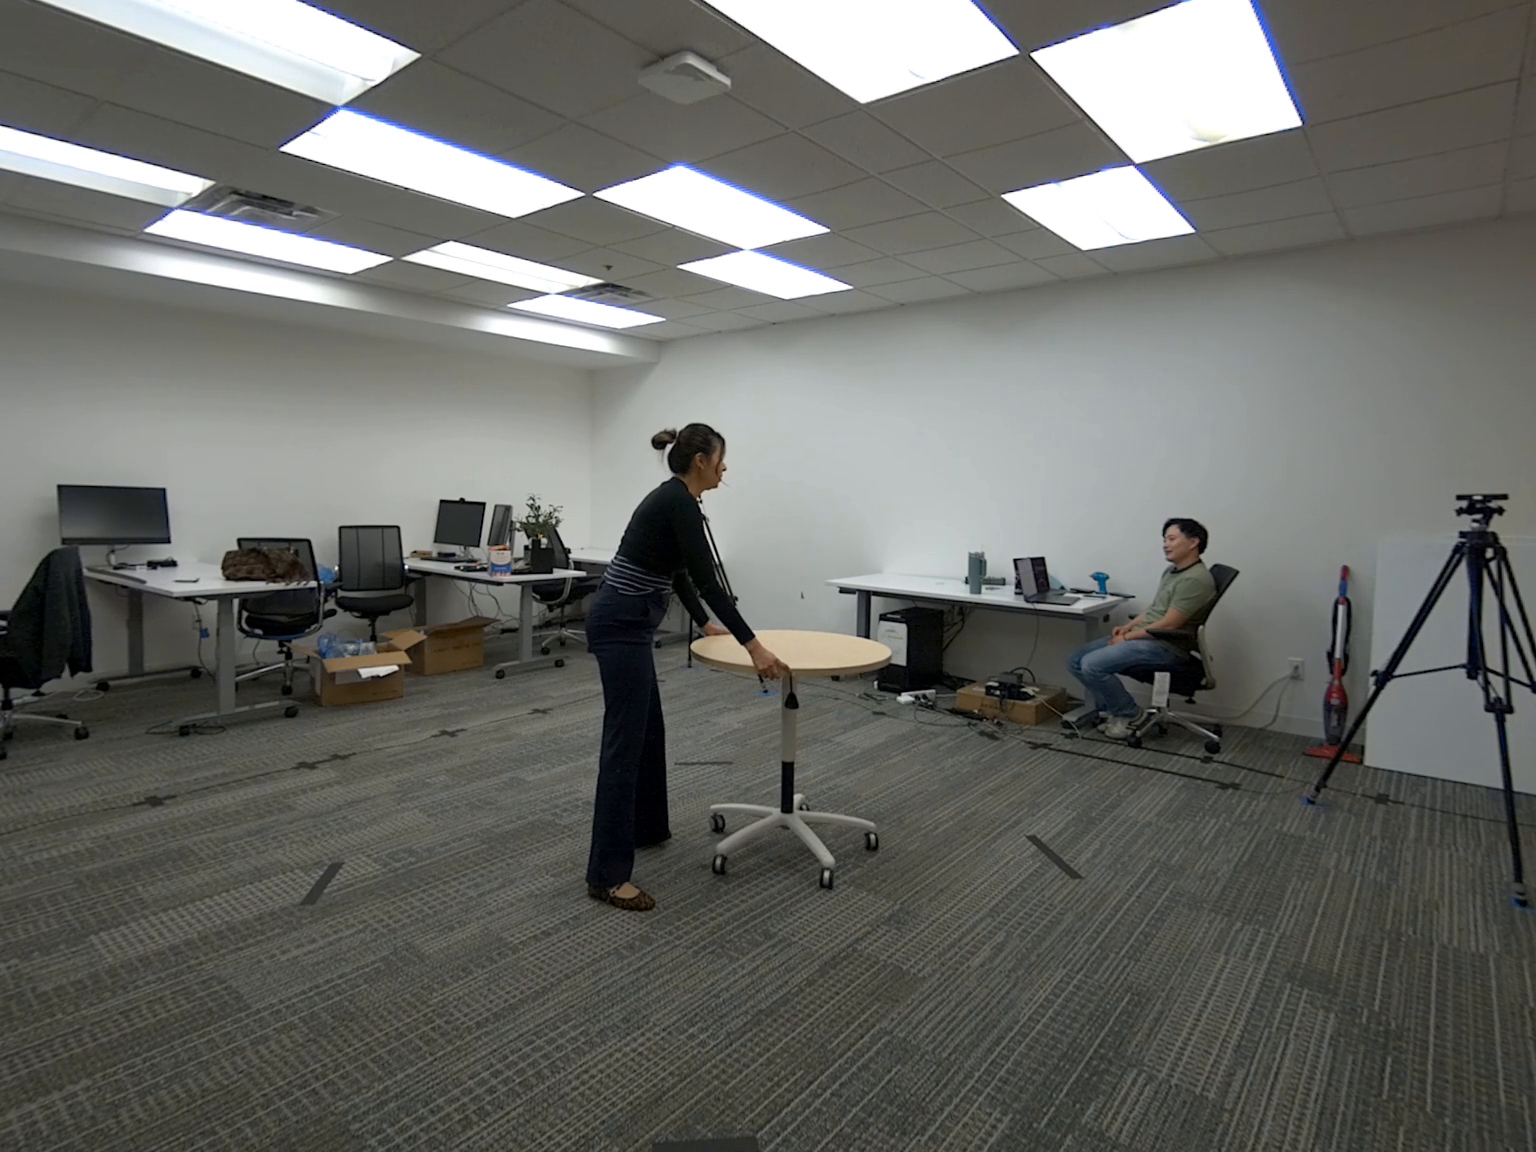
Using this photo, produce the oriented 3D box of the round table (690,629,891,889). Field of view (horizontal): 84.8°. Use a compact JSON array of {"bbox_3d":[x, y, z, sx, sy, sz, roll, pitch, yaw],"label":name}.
[{"bbox_3d":[0.062,0.665,3.279,0.763,0.791,0.768,1,4,-2],"label":"round table"}]
